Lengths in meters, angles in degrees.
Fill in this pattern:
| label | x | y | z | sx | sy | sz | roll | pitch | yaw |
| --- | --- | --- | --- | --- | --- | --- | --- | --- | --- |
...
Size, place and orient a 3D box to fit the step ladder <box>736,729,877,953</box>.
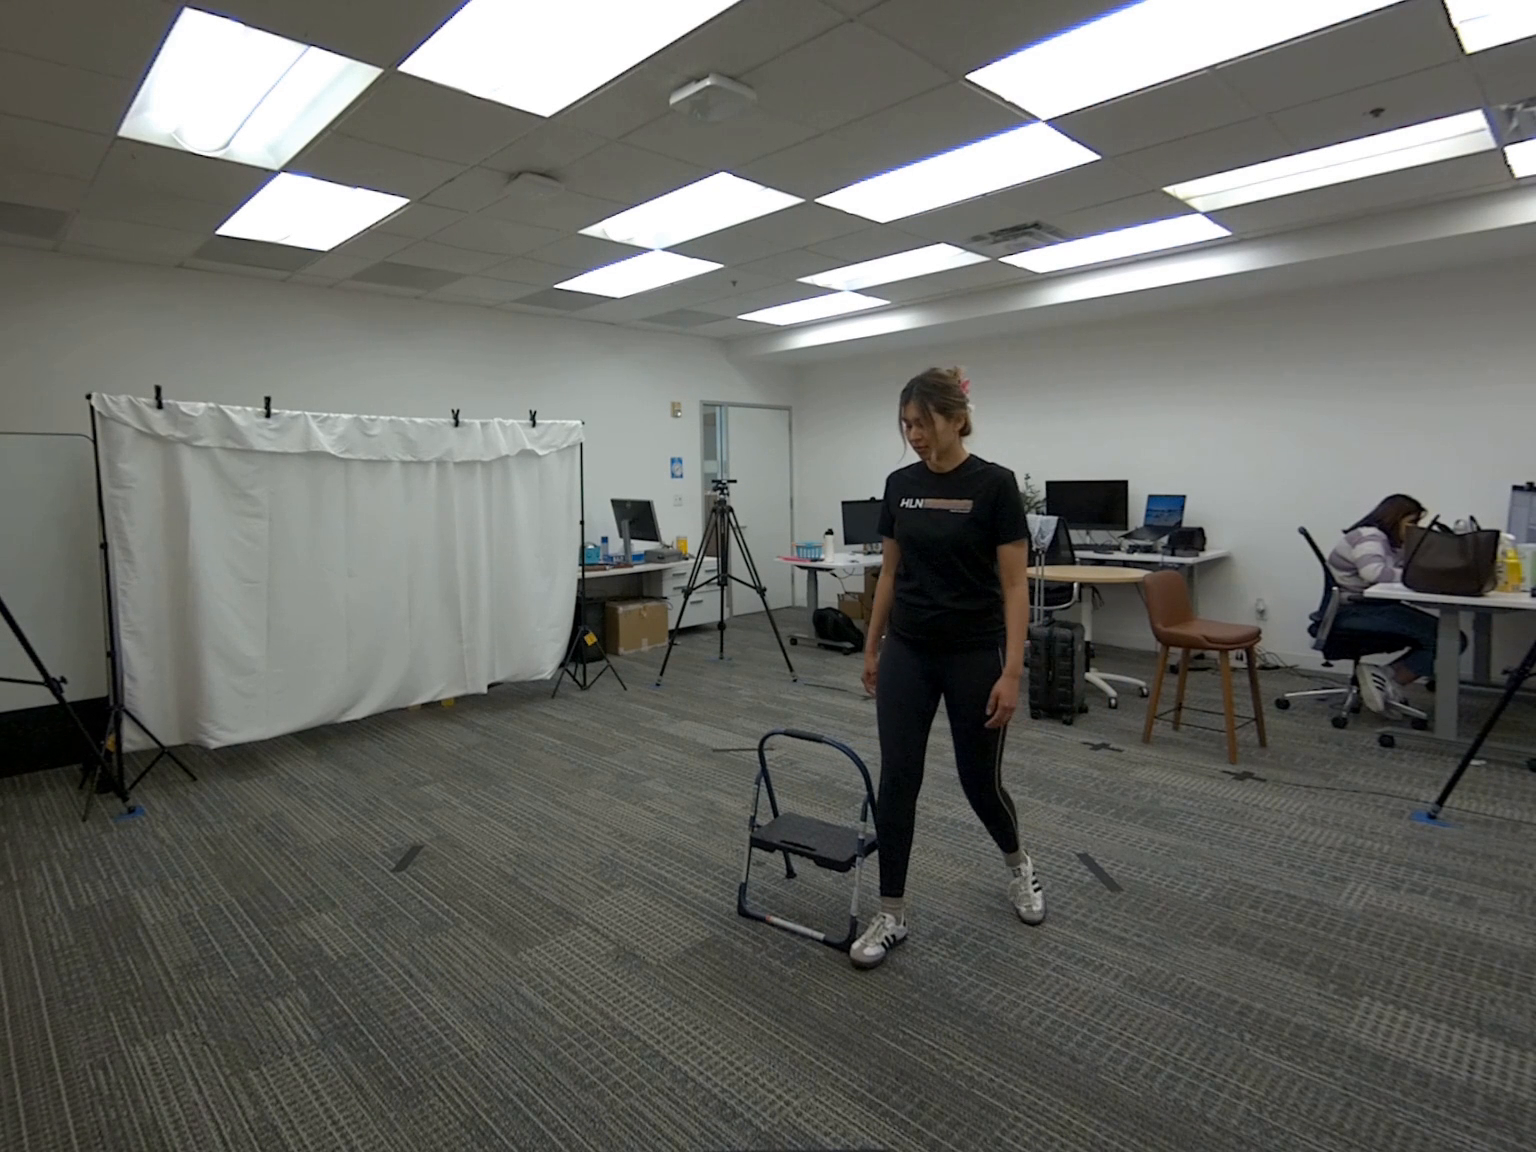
| label | x | y | z | sx | sy | sz | roll | pitch | yaw |
| --- | --- | --- | --- | --- | --- | --- | --- | --- | --- |
| step ladder | 0.160 | 0.783 | 2.746 | 0.443 | 0.604 | 0.341 | 2 | 4 | 34 |
